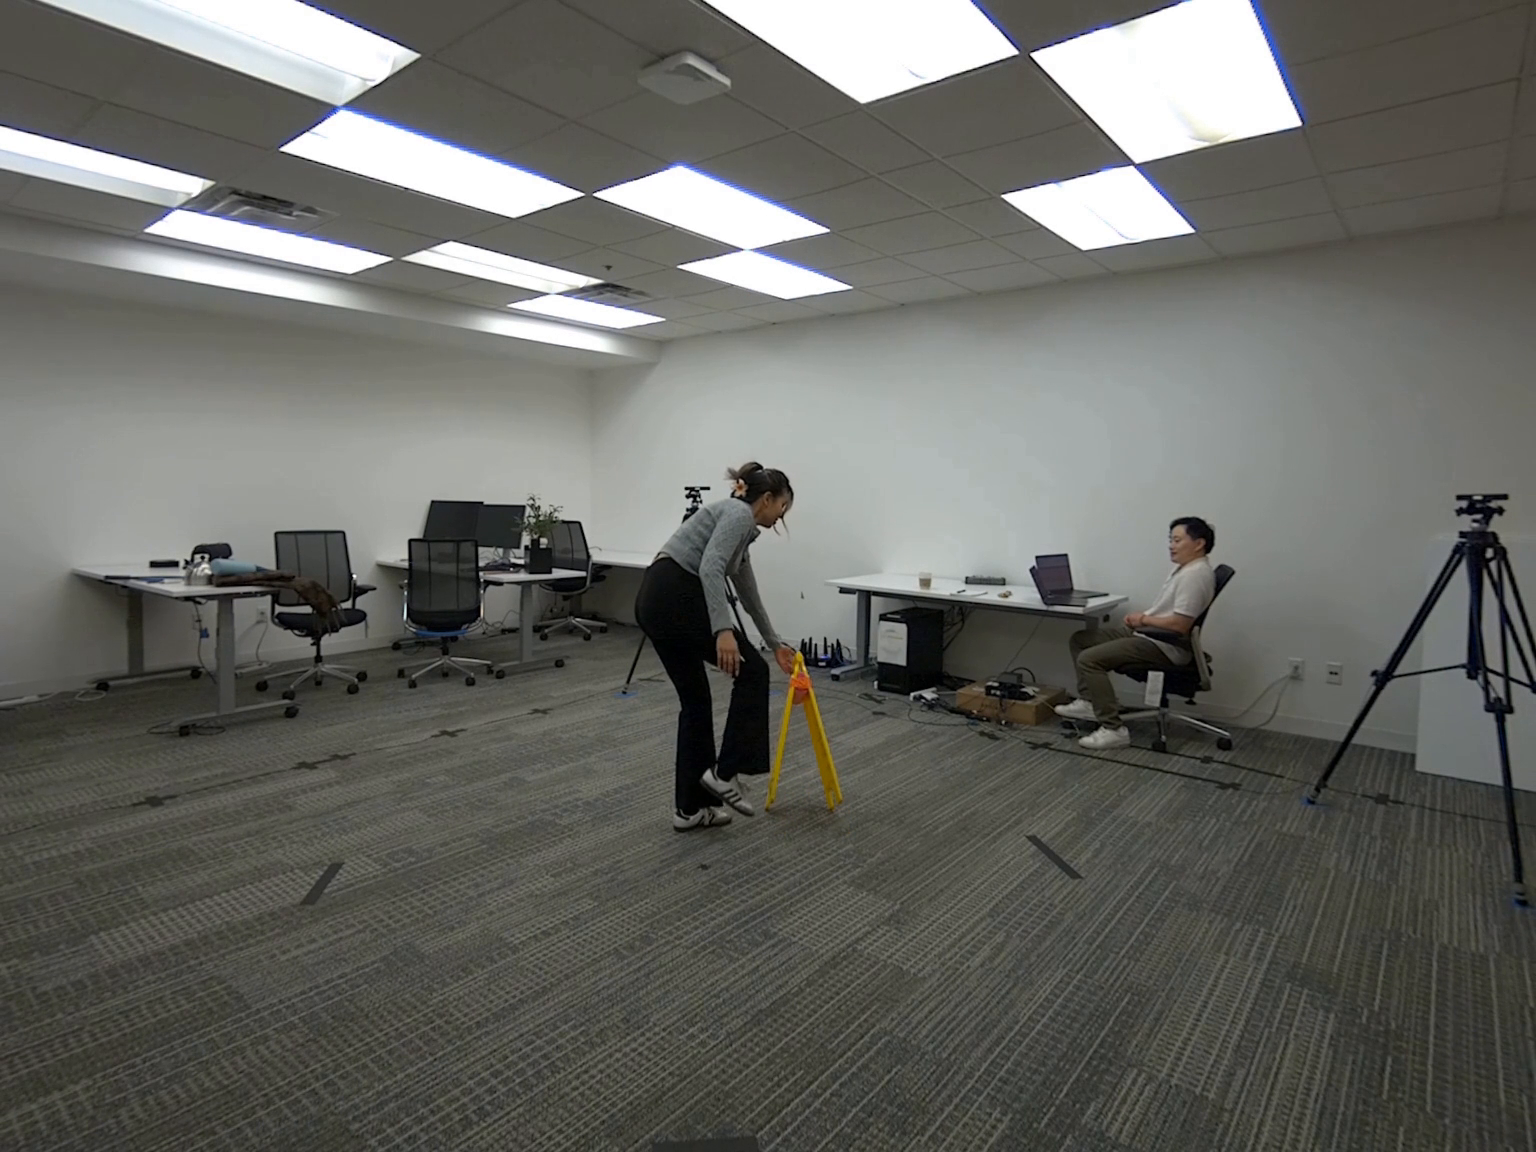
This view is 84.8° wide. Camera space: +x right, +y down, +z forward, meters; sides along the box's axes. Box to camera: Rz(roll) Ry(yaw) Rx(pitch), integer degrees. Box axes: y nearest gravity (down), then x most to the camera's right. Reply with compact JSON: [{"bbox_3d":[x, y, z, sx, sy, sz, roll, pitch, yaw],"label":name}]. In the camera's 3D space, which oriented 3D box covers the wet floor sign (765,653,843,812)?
[{"bbox_3d":[0.130,0.667,3.713,0.289,0.659,0.277,1,-22,-3],"label":"wet floor sign"}]
